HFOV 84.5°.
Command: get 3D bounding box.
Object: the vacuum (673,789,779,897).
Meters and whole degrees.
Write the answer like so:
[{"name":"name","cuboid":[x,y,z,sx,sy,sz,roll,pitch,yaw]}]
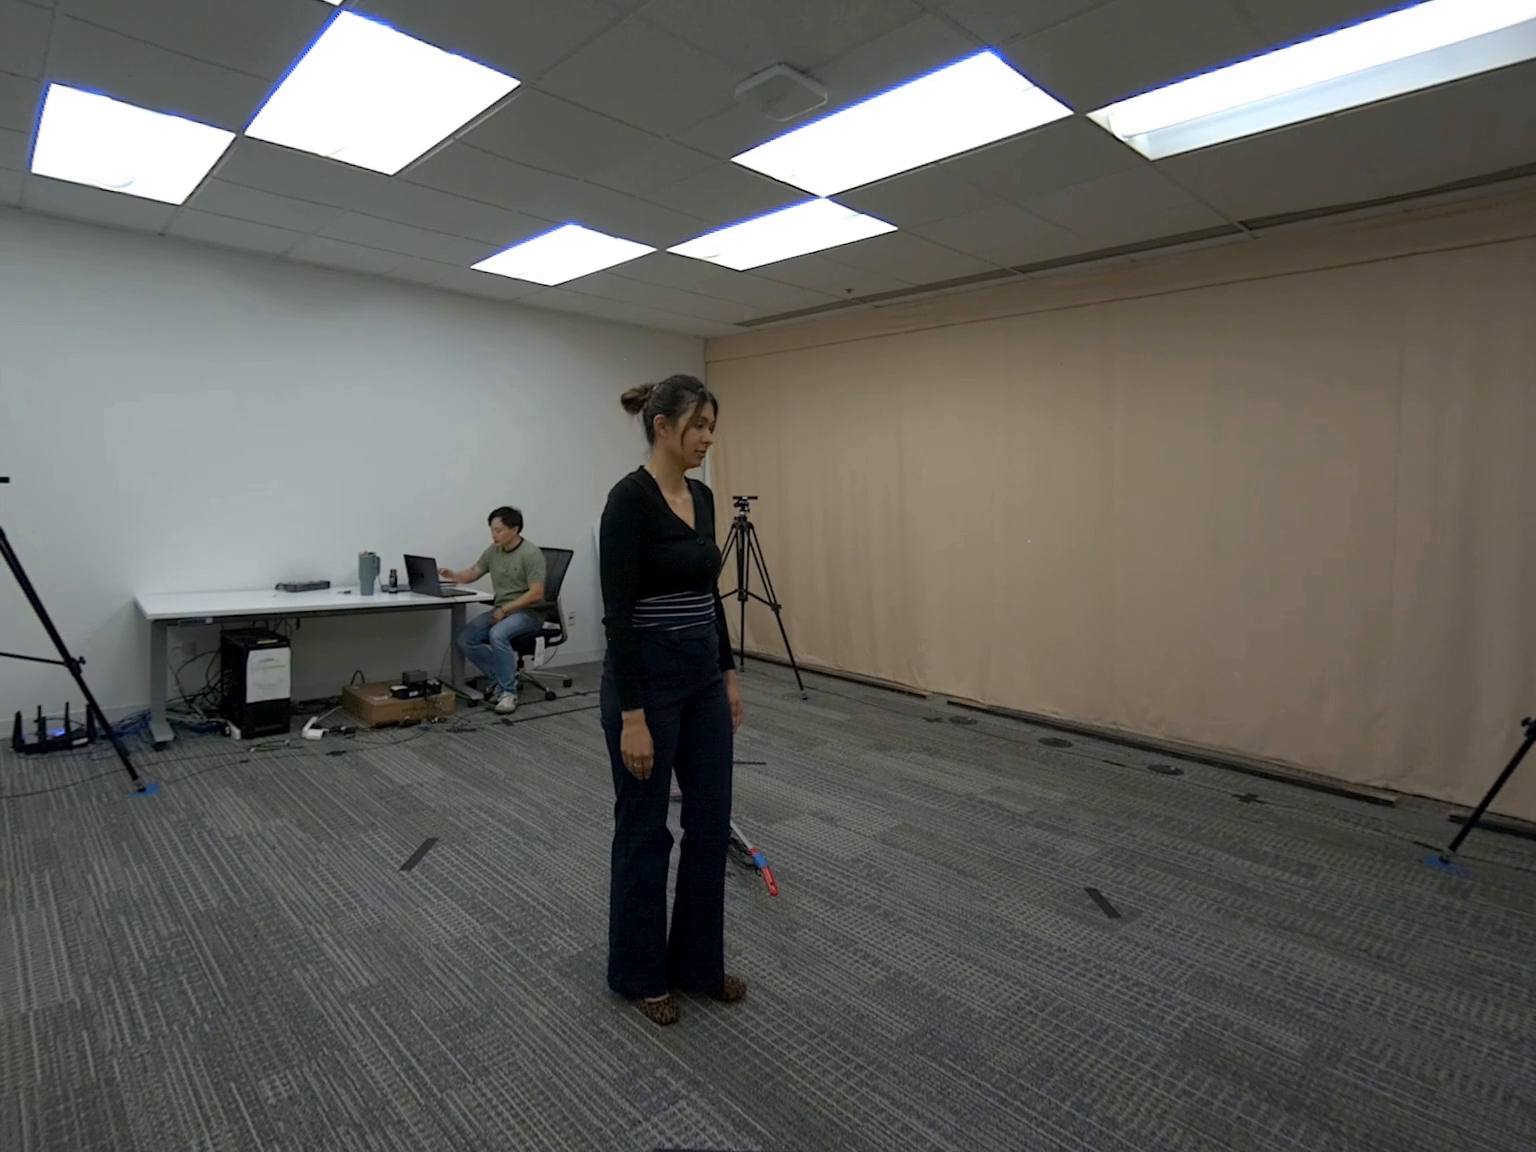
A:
[{"name":"vacuum","cuboid":[-0.171,1.019,3.344,0.249,0.143,1.066,-5,6,-18]}]
